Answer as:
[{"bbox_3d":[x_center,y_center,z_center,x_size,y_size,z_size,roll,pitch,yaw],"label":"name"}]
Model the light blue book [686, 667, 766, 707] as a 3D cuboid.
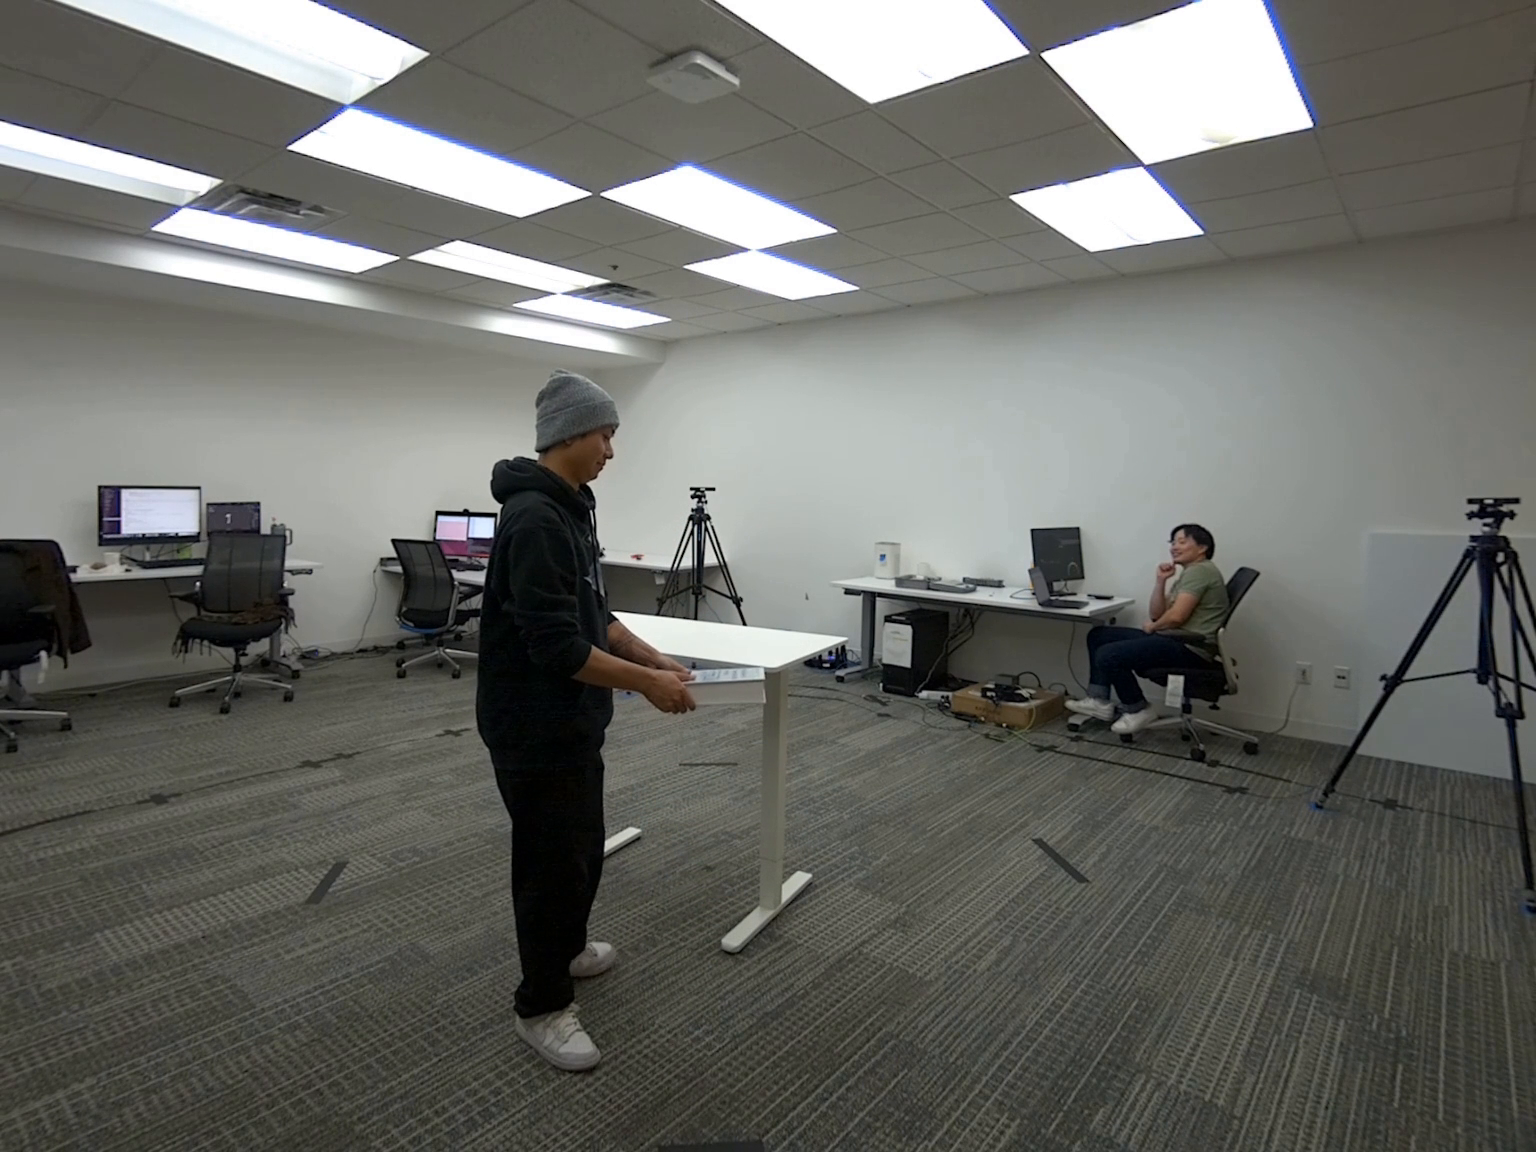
[{"bbox_3d":[-0.149,0.271,2.080,0.261,0.059,0.191,-2,3,0],"label":"light blue book"}]
